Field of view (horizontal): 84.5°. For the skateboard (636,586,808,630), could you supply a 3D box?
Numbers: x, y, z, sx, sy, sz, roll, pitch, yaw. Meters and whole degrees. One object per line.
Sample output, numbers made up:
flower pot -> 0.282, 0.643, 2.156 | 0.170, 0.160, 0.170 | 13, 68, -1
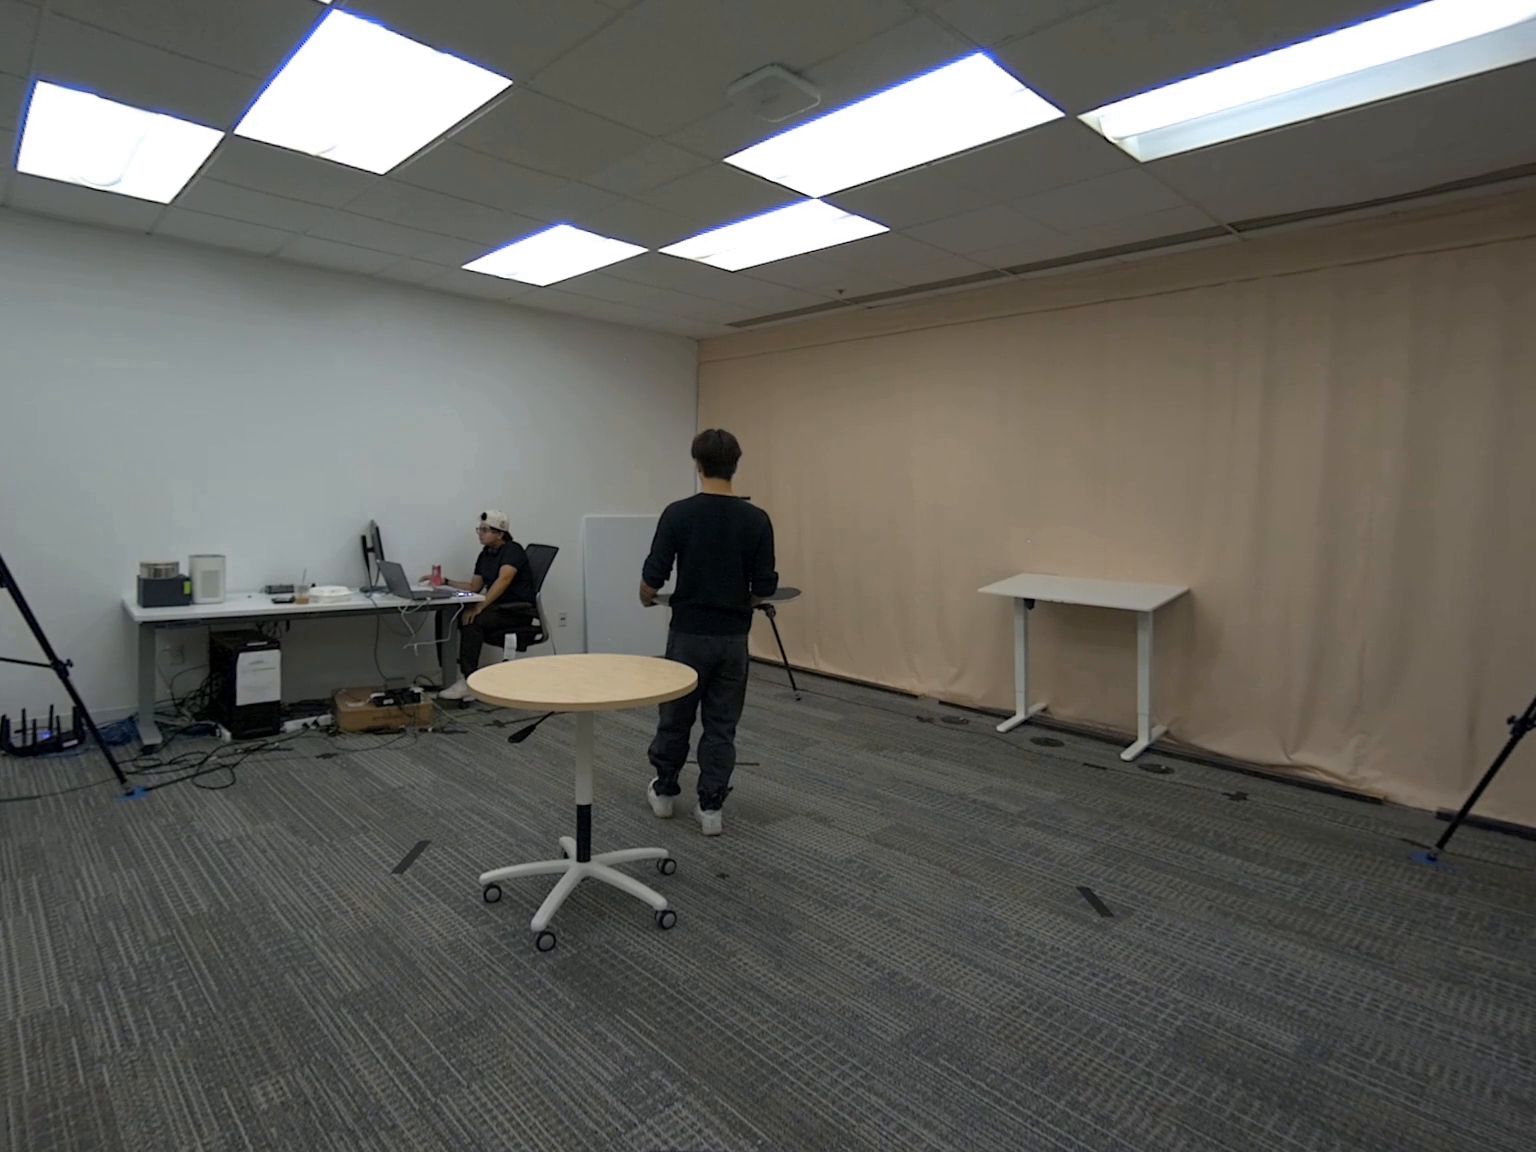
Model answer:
skateboard -> -0.202, 0.138, 3.901 | 0.769, 0.109, 0.199 | -2, 17, -31
